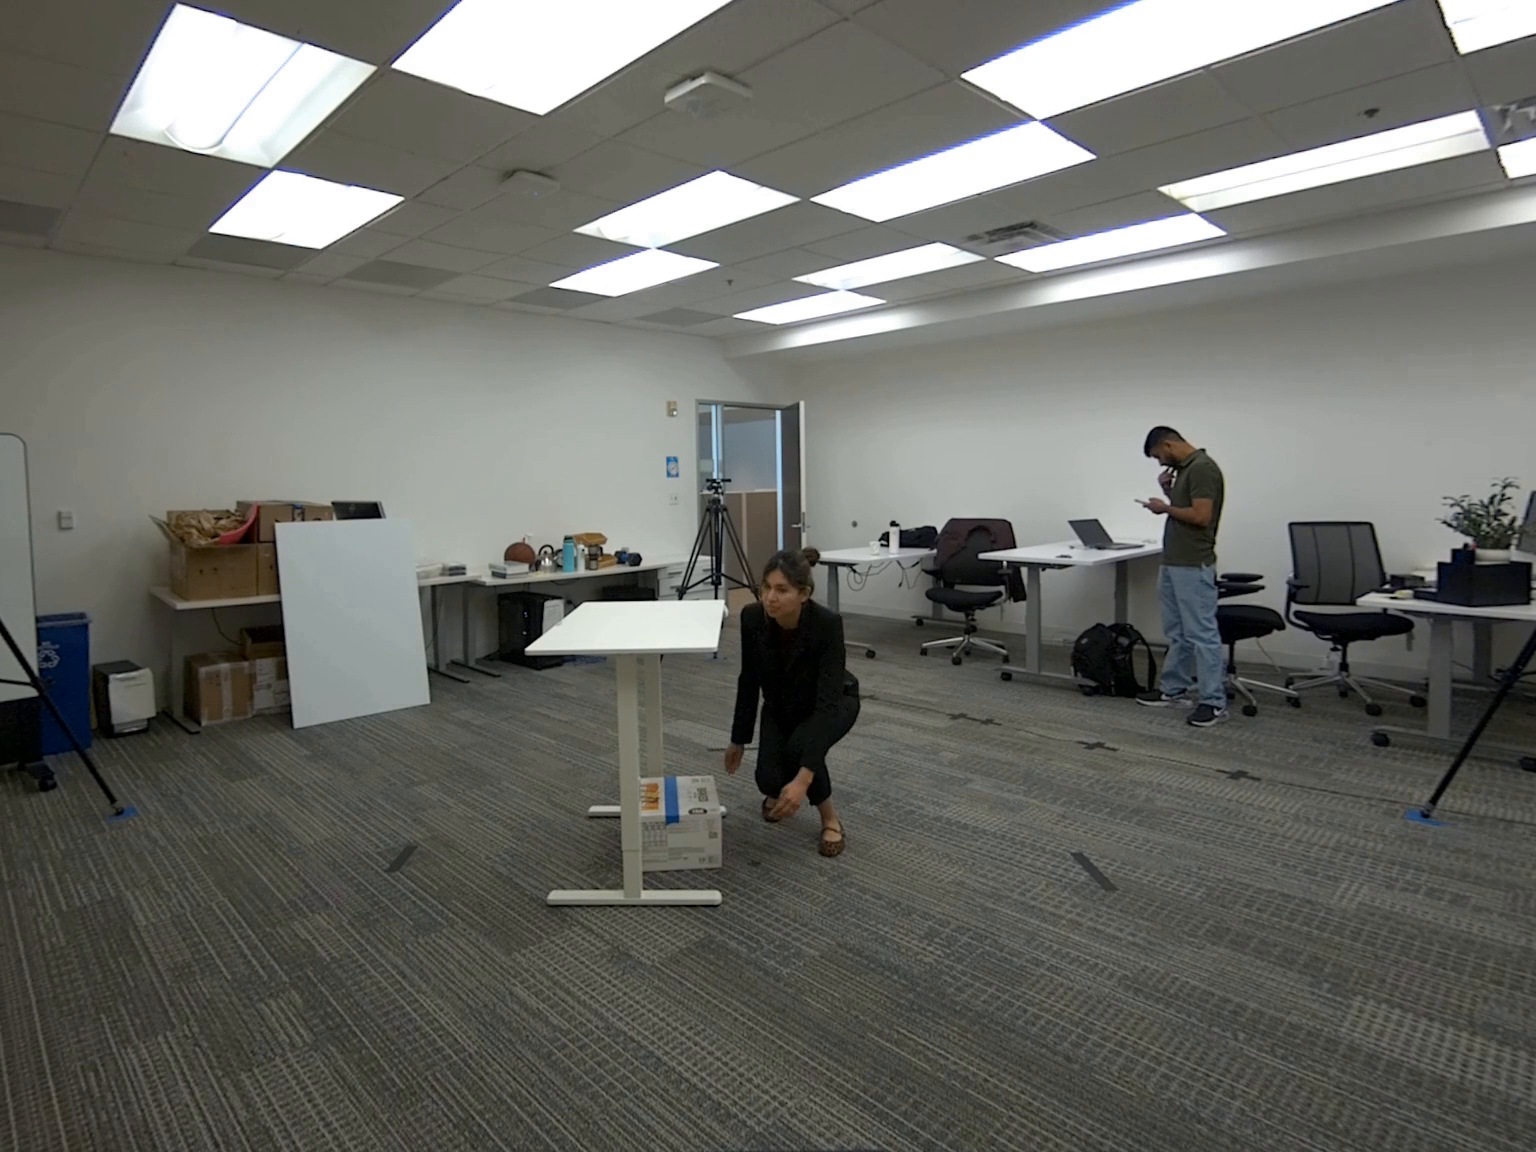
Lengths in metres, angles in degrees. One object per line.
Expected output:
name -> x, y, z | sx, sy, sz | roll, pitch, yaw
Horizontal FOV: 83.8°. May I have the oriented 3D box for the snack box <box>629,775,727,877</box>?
snack box -> -0.351, 0.934, 3.249 | 0.338, 0.205, 0.409 | -2, 6, -6
